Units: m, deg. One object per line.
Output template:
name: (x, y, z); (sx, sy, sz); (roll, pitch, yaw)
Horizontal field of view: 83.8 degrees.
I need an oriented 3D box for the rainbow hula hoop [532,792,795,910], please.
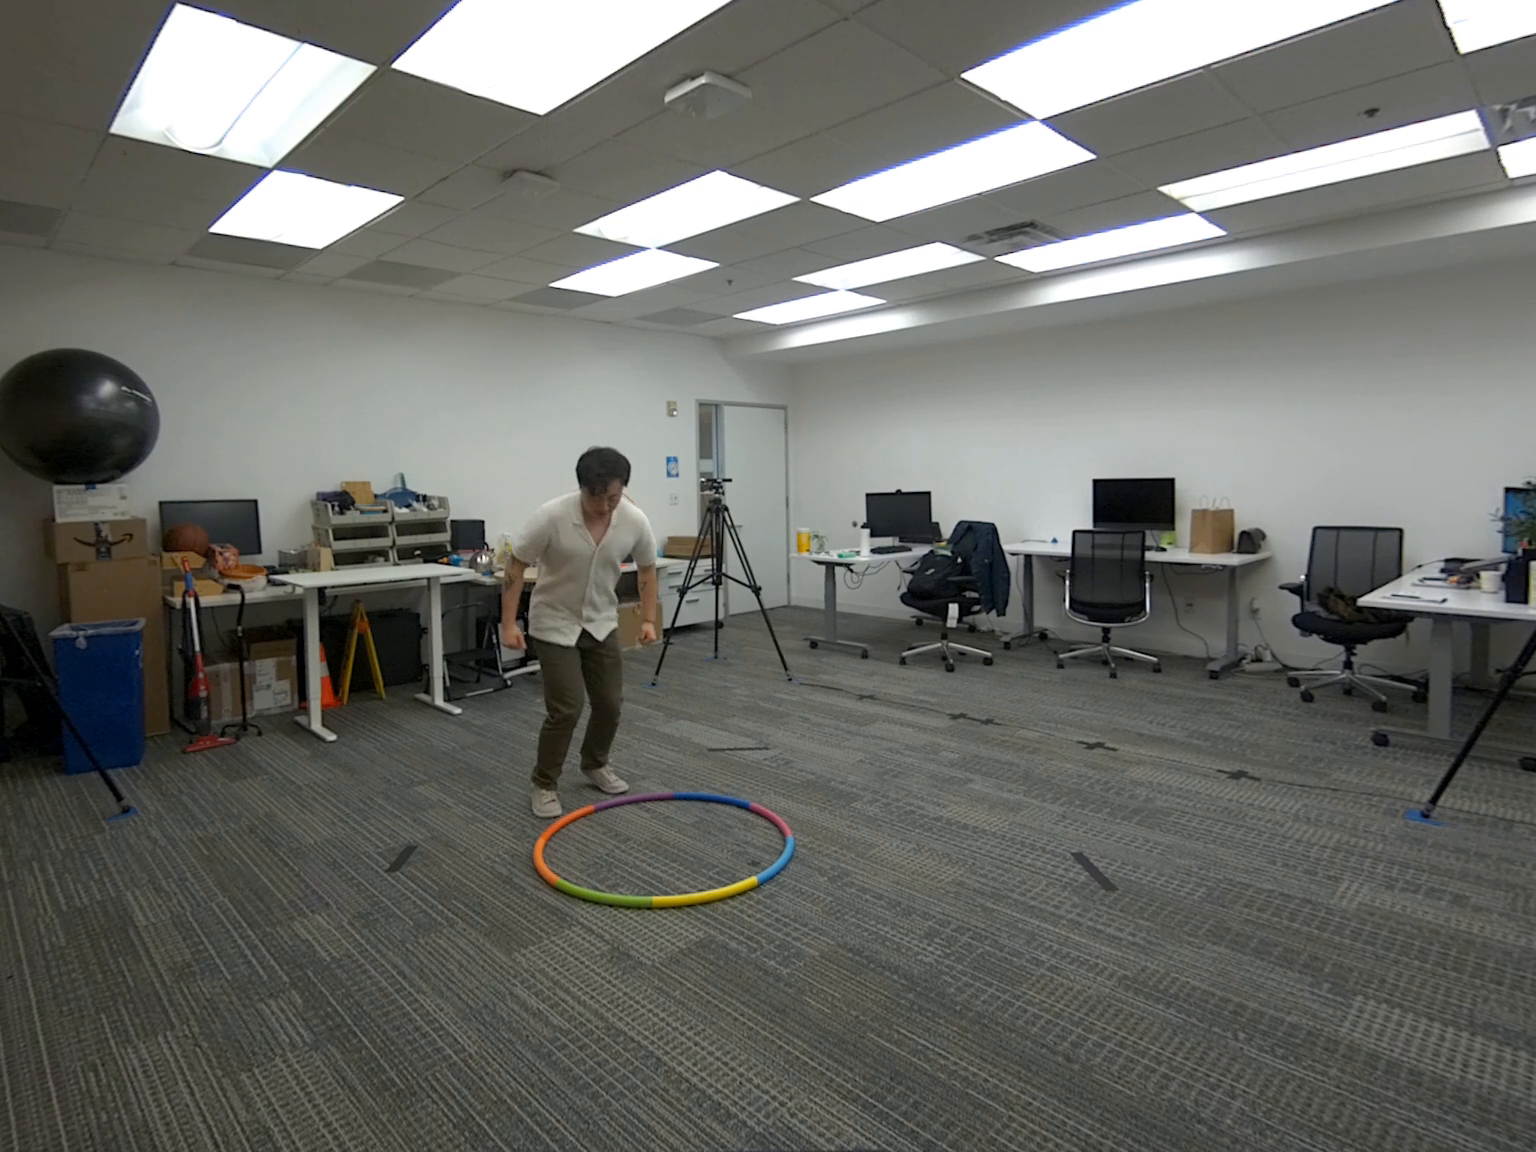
rainbow hula hoop: (-0.391, 1.004, 3.269); (0.978, 0.035, 0.984); (-1, 6, -2)
